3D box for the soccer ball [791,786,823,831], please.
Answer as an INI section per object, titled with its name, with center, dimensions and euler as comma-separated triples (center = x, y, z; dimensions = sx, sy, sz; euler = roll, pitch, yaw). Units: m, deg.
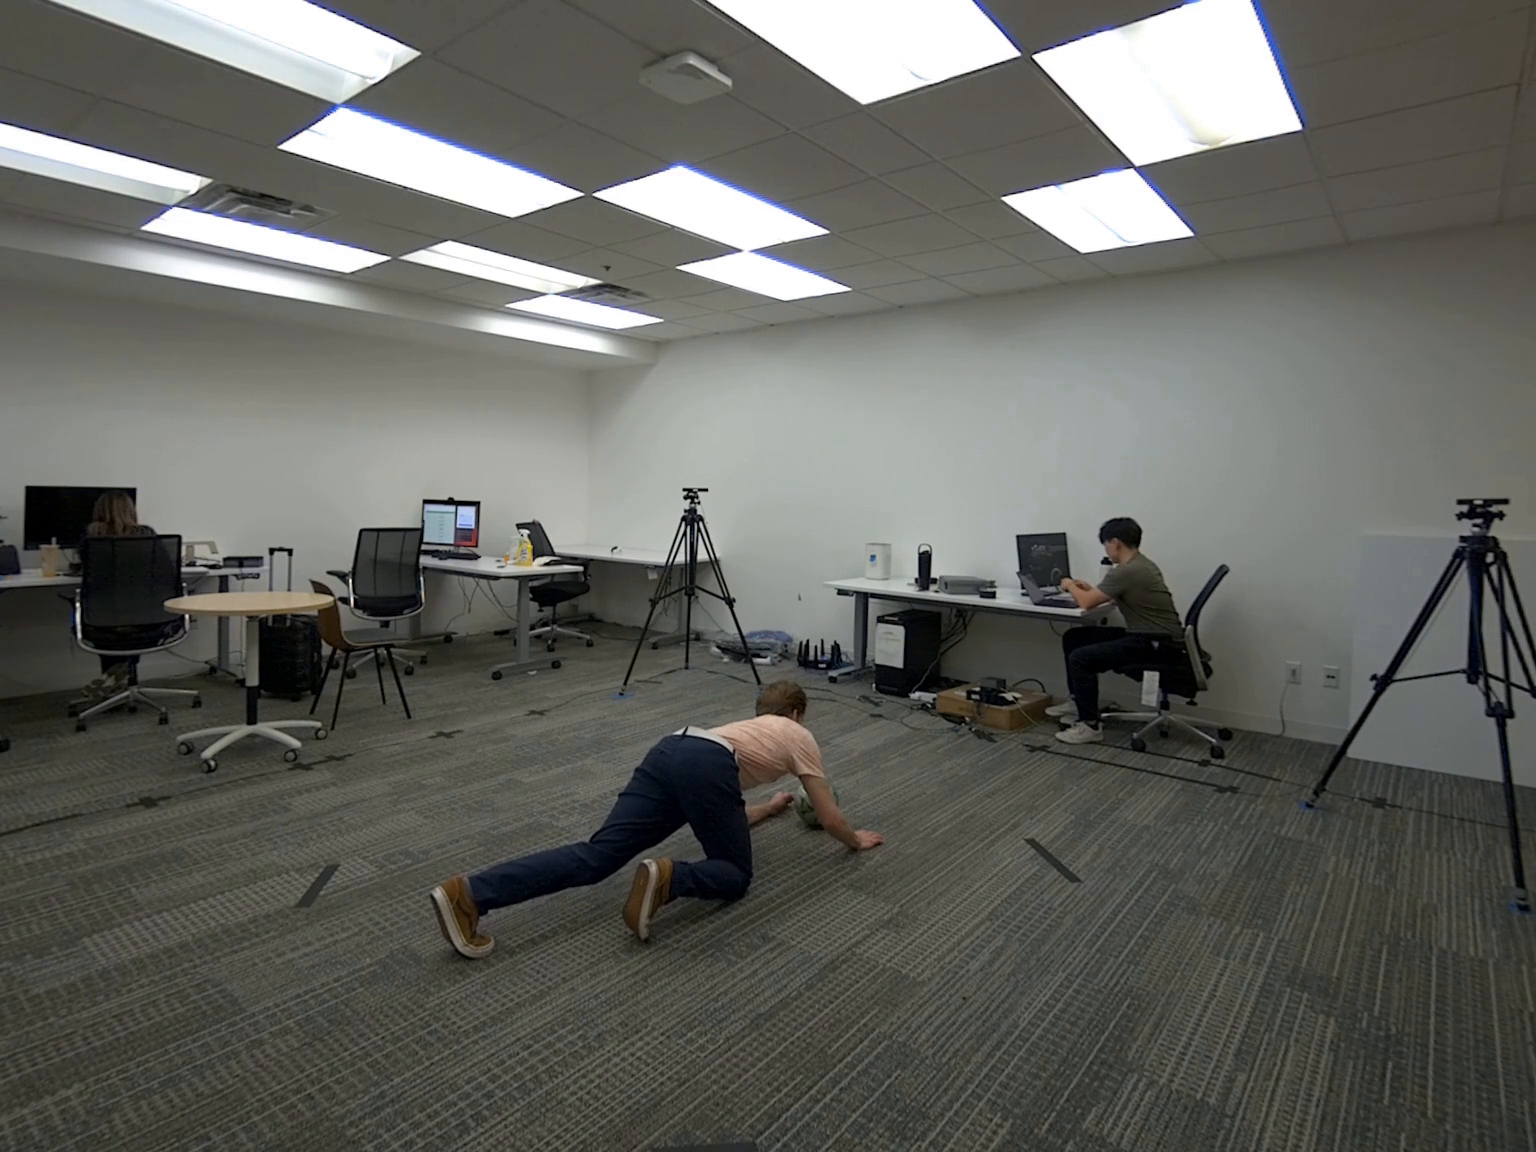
[soccer ball]
center = 0.195, 0.940, 3.548
dimensions = 0.187, 0.187, 0.188
euler = 1, 4, -2
